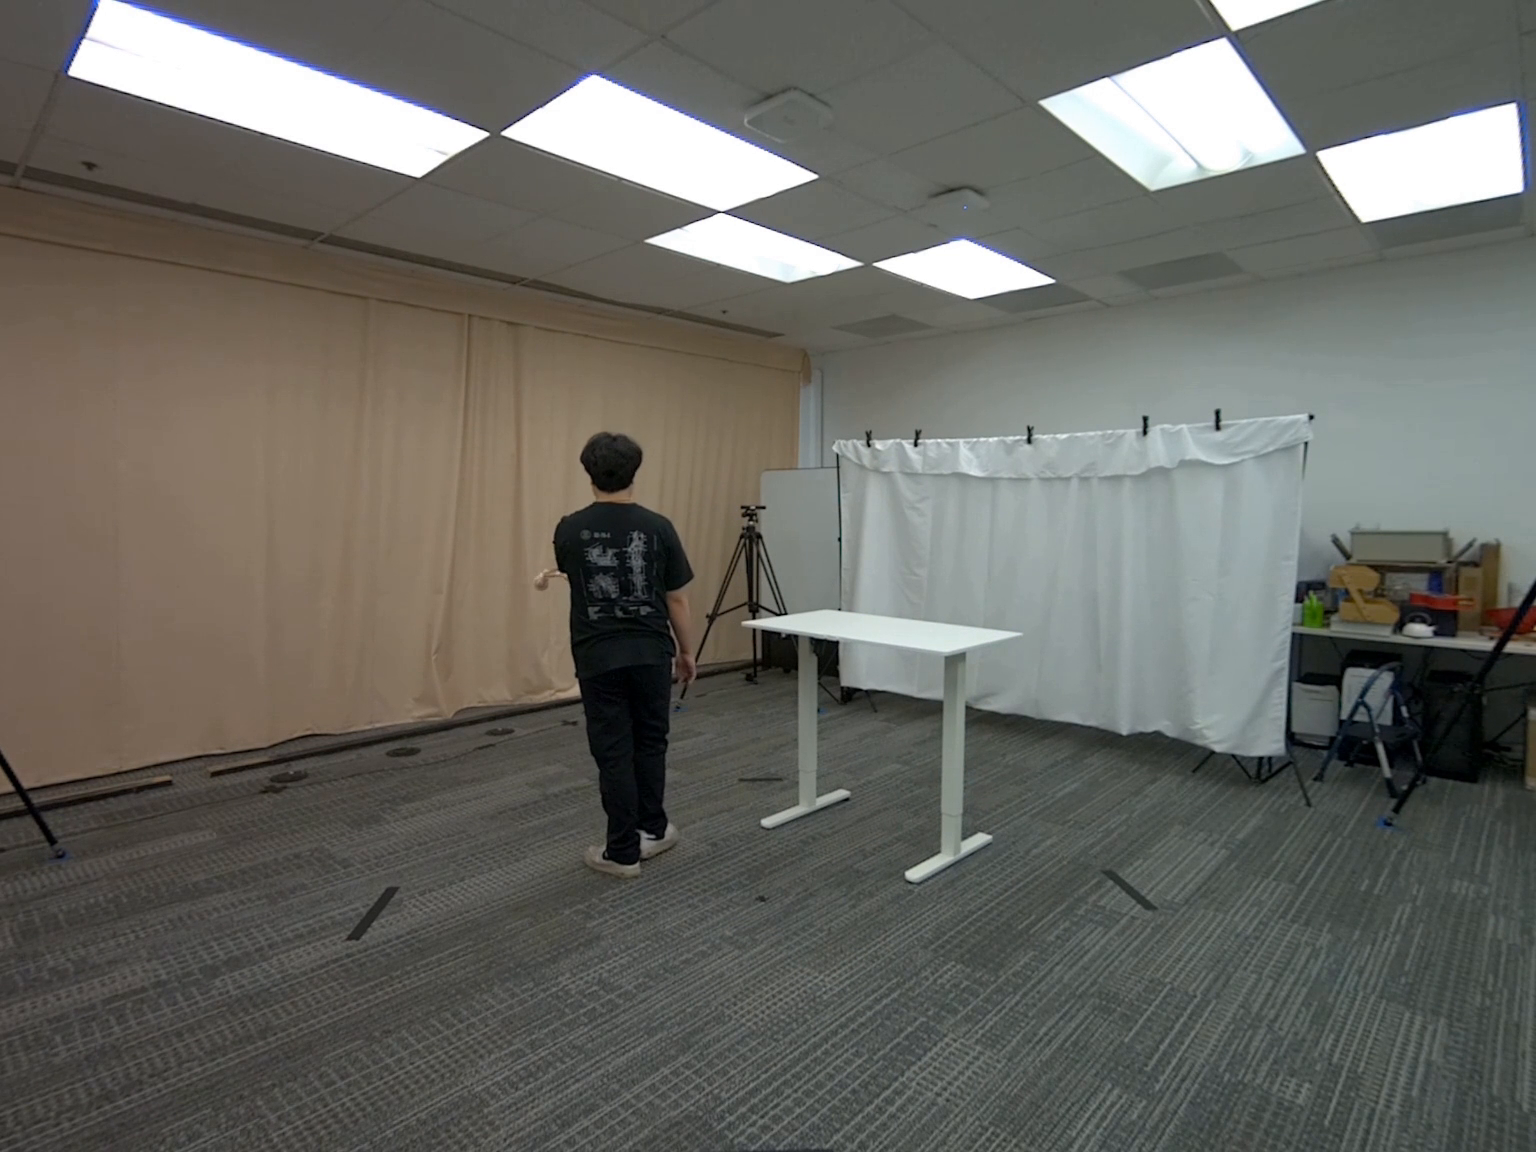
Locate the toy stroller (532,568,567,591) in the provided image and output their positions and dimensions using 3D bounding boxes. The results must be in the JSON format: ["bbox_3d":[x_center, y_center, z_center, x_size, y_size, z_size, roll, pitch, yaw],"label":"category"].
[{"bbox_3d":[-0.802,-0.101,3.779,0.342,0.535,0.280,32,12,1],"label":"toy stroller"}]
